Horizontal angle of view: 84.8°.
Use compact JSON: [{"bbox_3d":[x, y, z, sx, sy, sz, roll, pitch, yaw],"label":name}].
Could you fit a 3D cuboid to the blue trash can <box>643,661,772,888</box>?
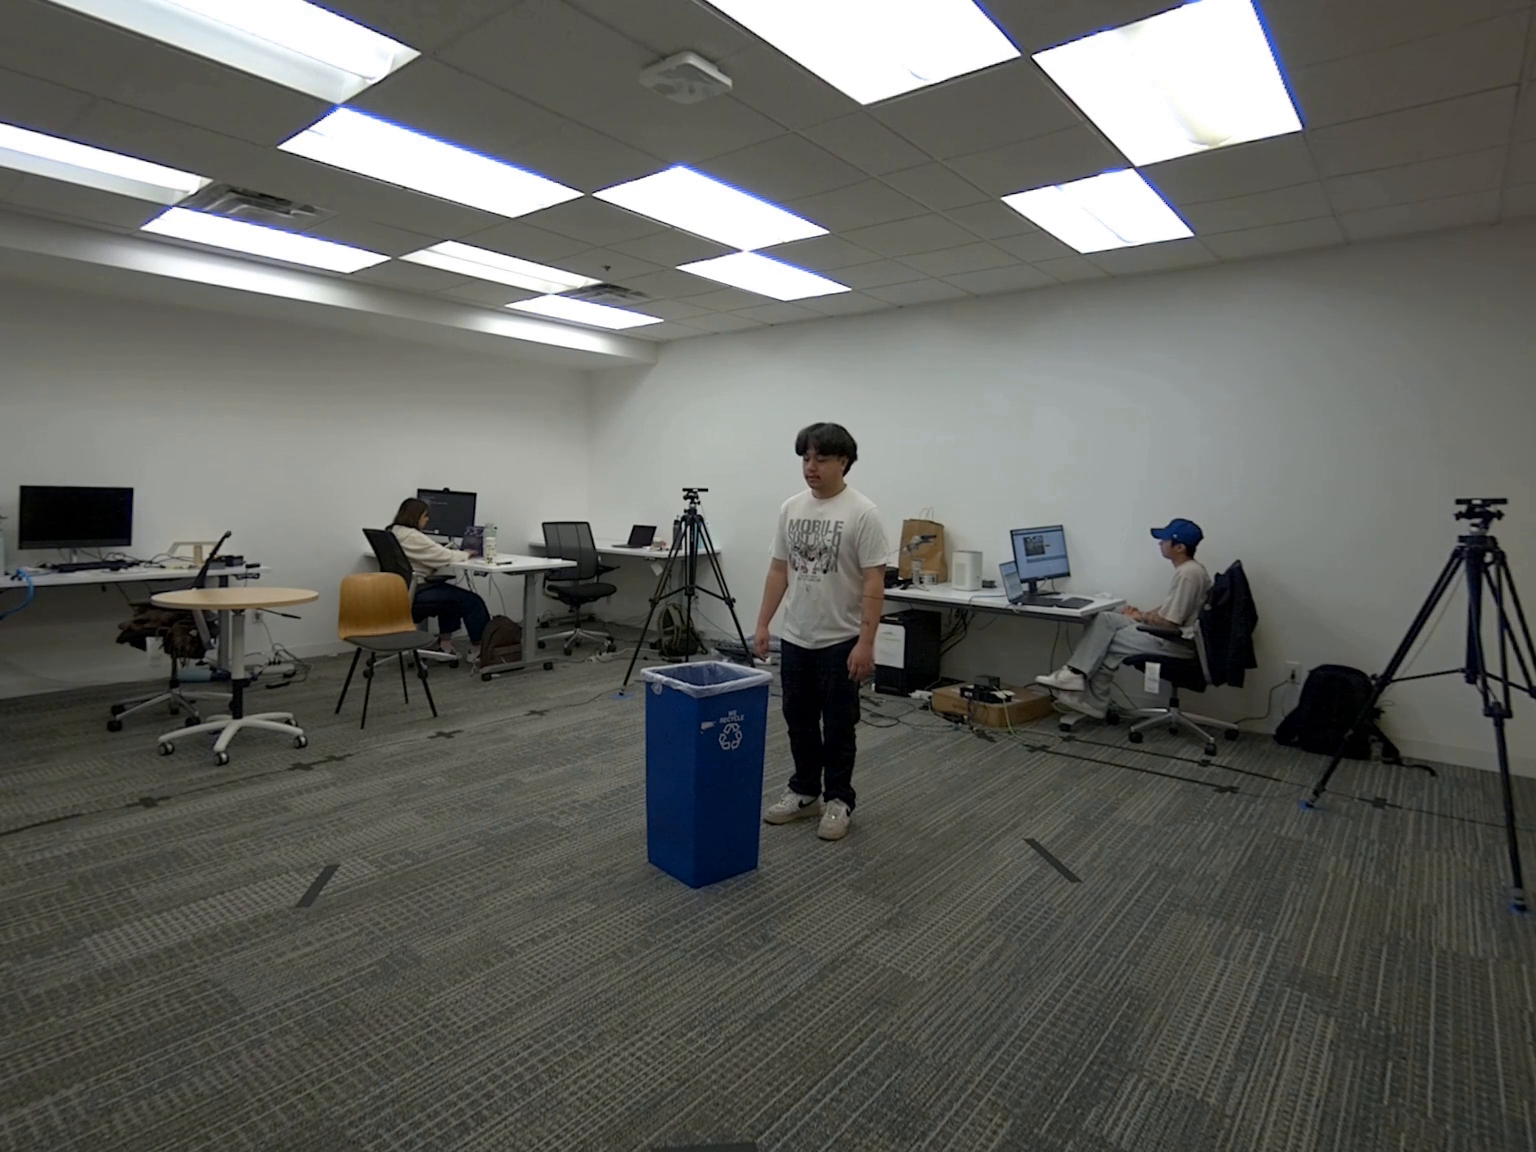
[{"bbox_3d":[-0.240,0.707,3.145,0.363,0.711,0.391,-2,5,-41],"label":"blue trash can"}]
